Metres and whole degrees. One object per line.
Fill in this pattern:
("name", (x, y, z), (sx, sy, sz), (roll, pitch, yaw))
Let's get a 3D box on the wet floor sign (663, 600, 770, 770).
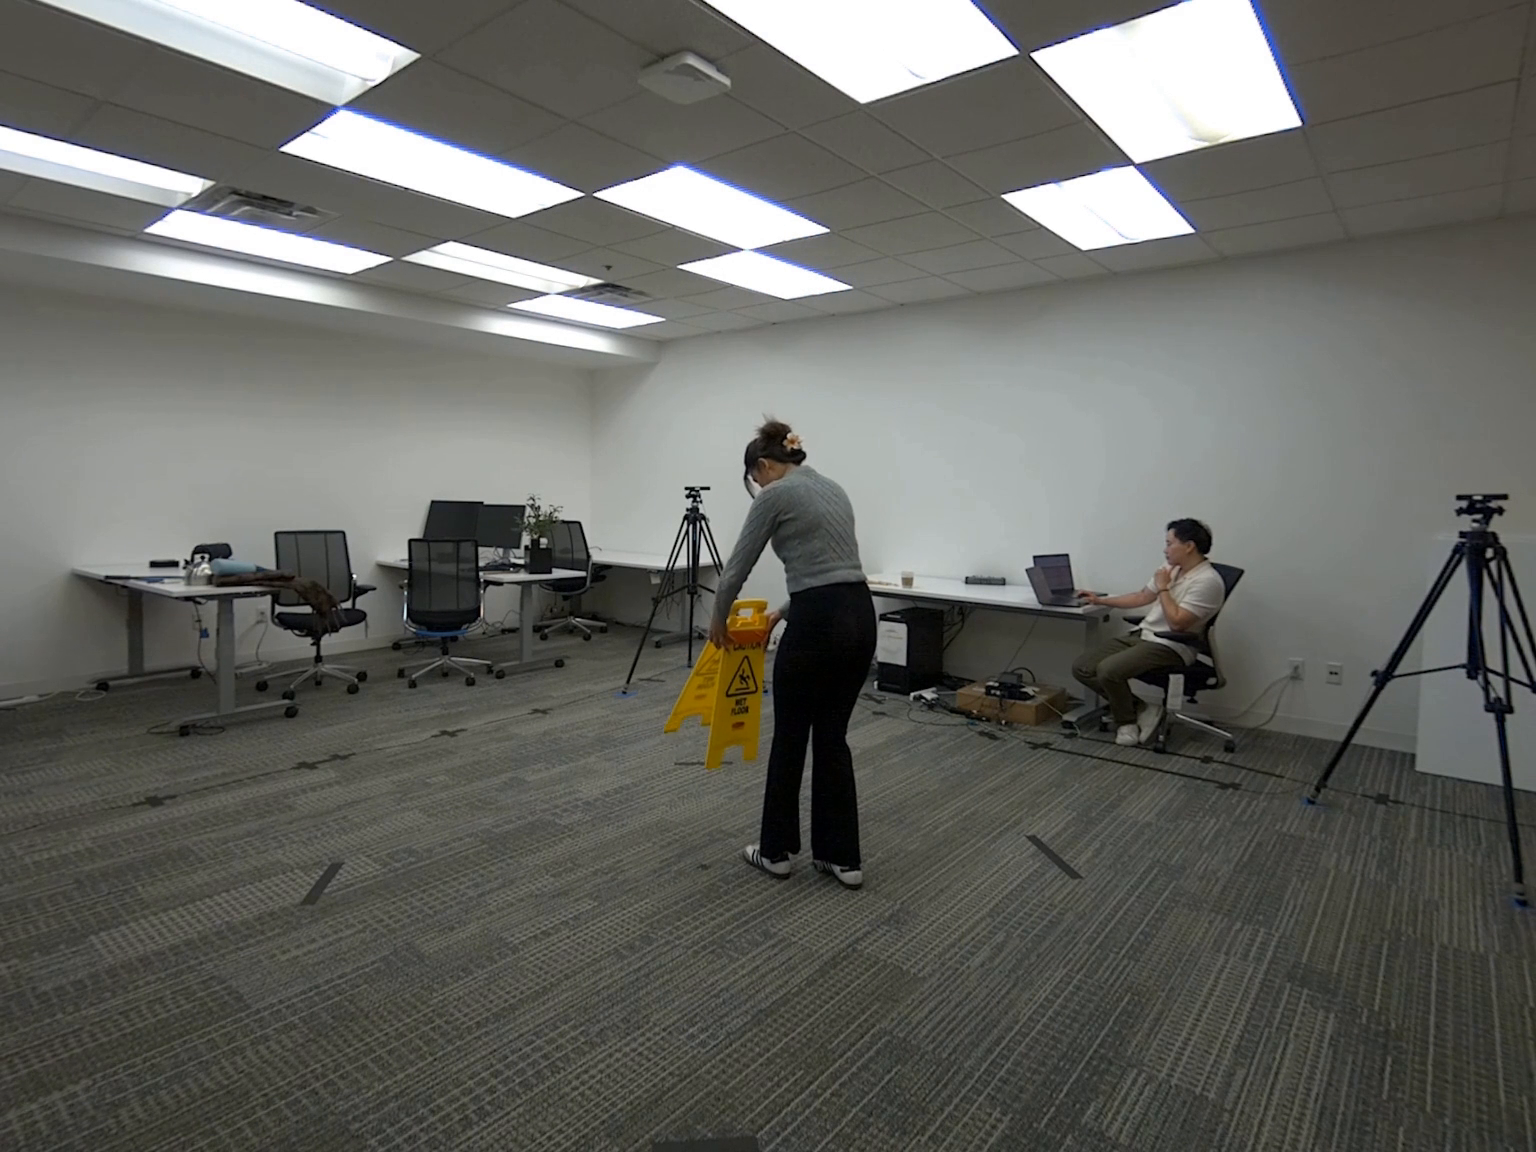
("wet floor sign", (-0.169, 0.389, 3.389), (0.273, 0.640, 0.302), (2, 19, -45))
